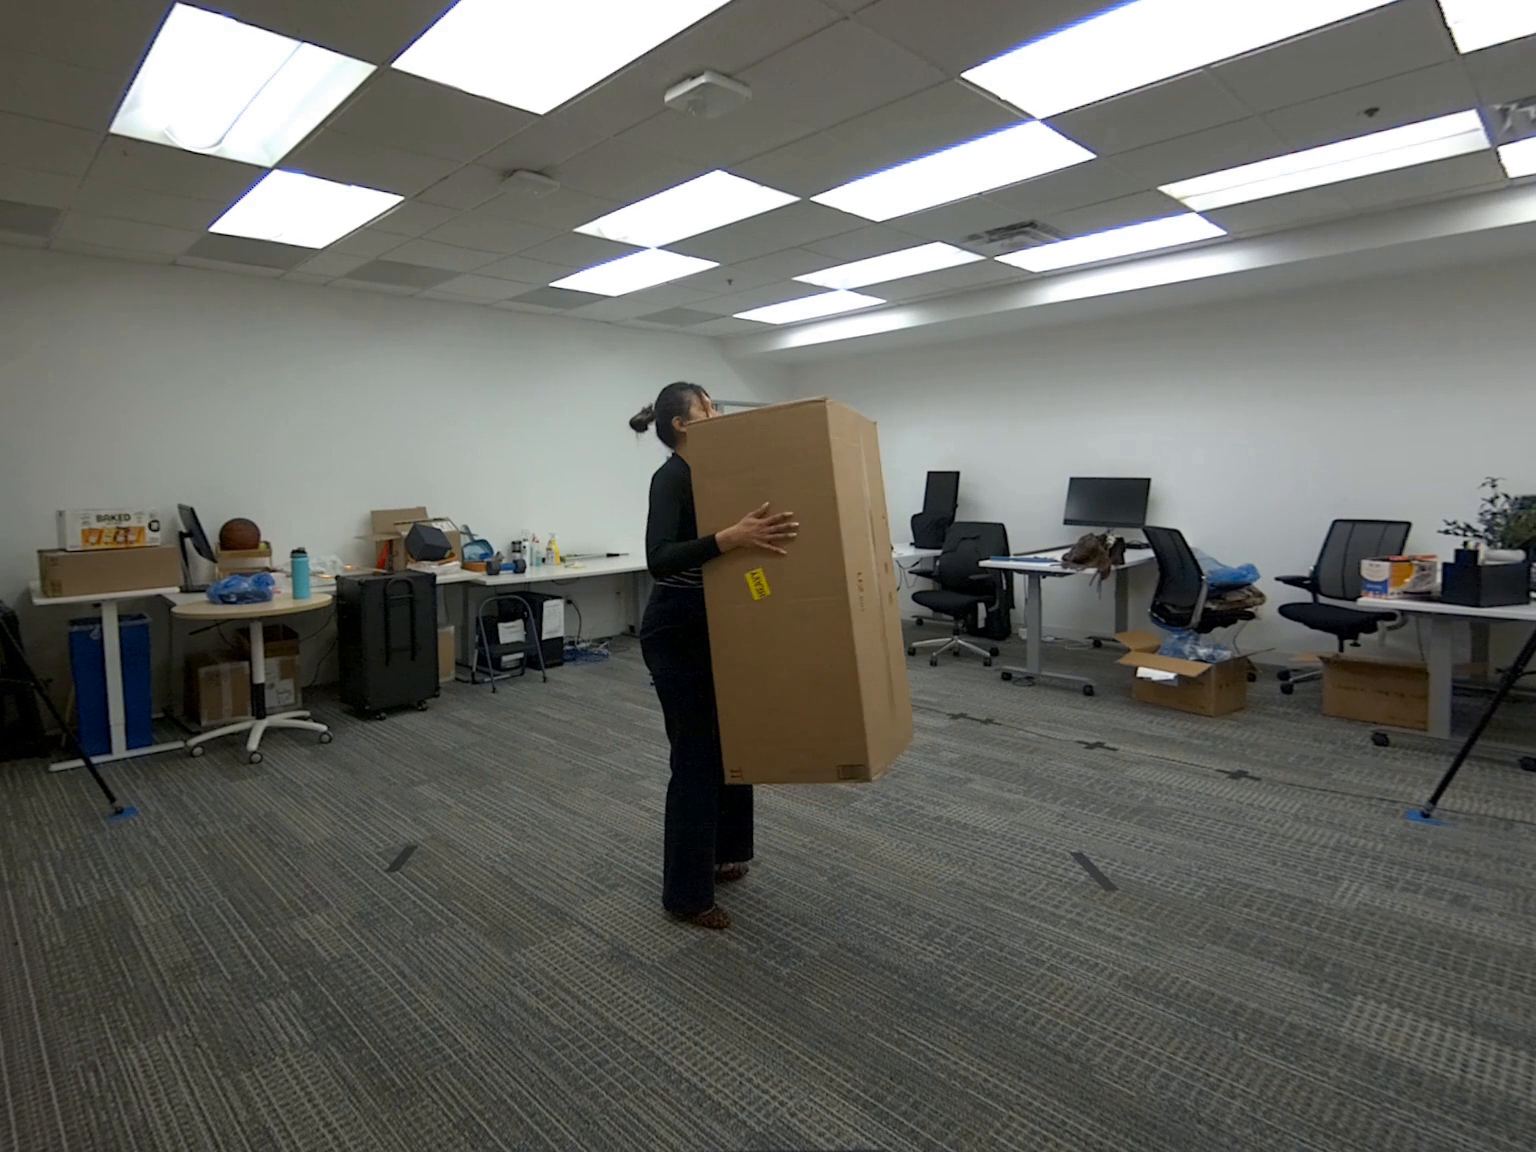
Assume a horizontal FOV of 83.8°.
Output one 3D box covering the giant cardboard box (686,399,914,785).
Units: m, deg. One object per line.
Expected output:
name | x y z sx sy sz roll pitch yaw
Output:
giant cardboard box | 0.117 0.042 2.586 0.434 1.029 0.565 -8 -3 22
